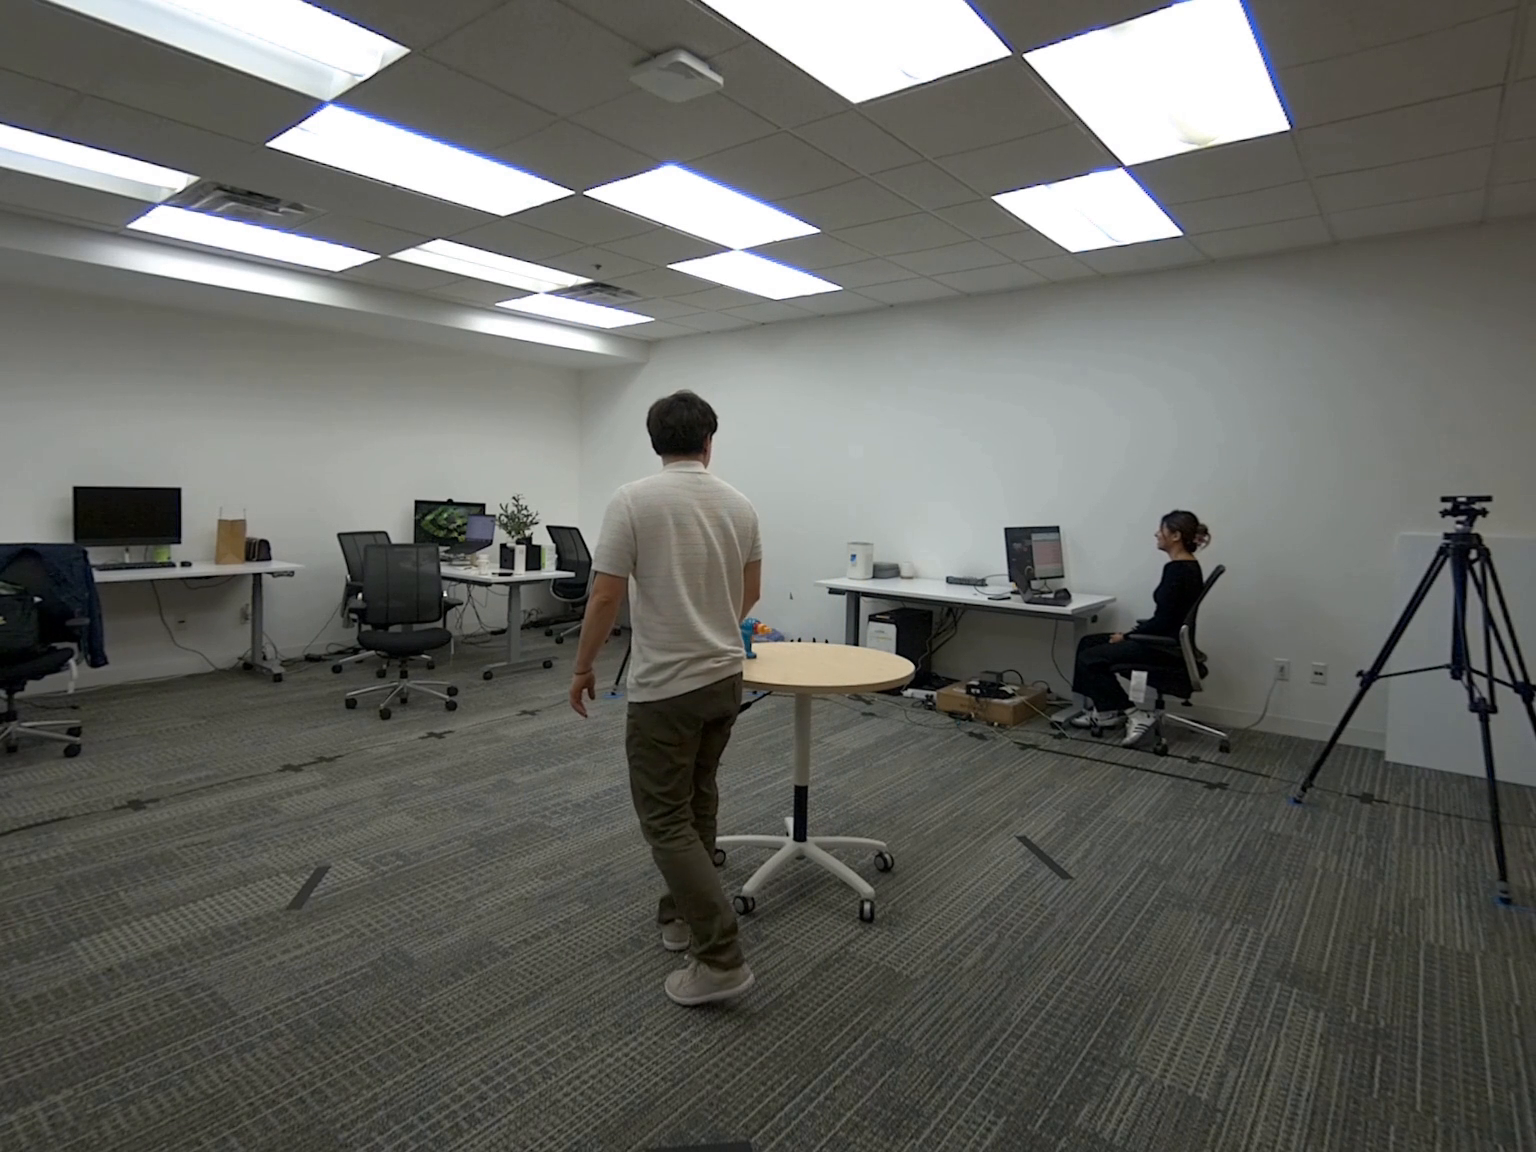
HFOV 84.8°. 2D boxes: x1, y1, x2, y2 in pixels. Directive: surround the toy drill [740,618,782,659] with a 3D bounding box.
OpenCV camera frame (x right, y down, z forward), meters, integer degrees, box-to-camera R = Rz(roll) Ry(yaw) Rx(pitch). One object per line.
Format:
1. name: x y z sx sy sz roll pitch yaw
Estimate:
1. toy drill: -0.060 0.220 3.038 0.059 0.146 0.175 0 2 -38
